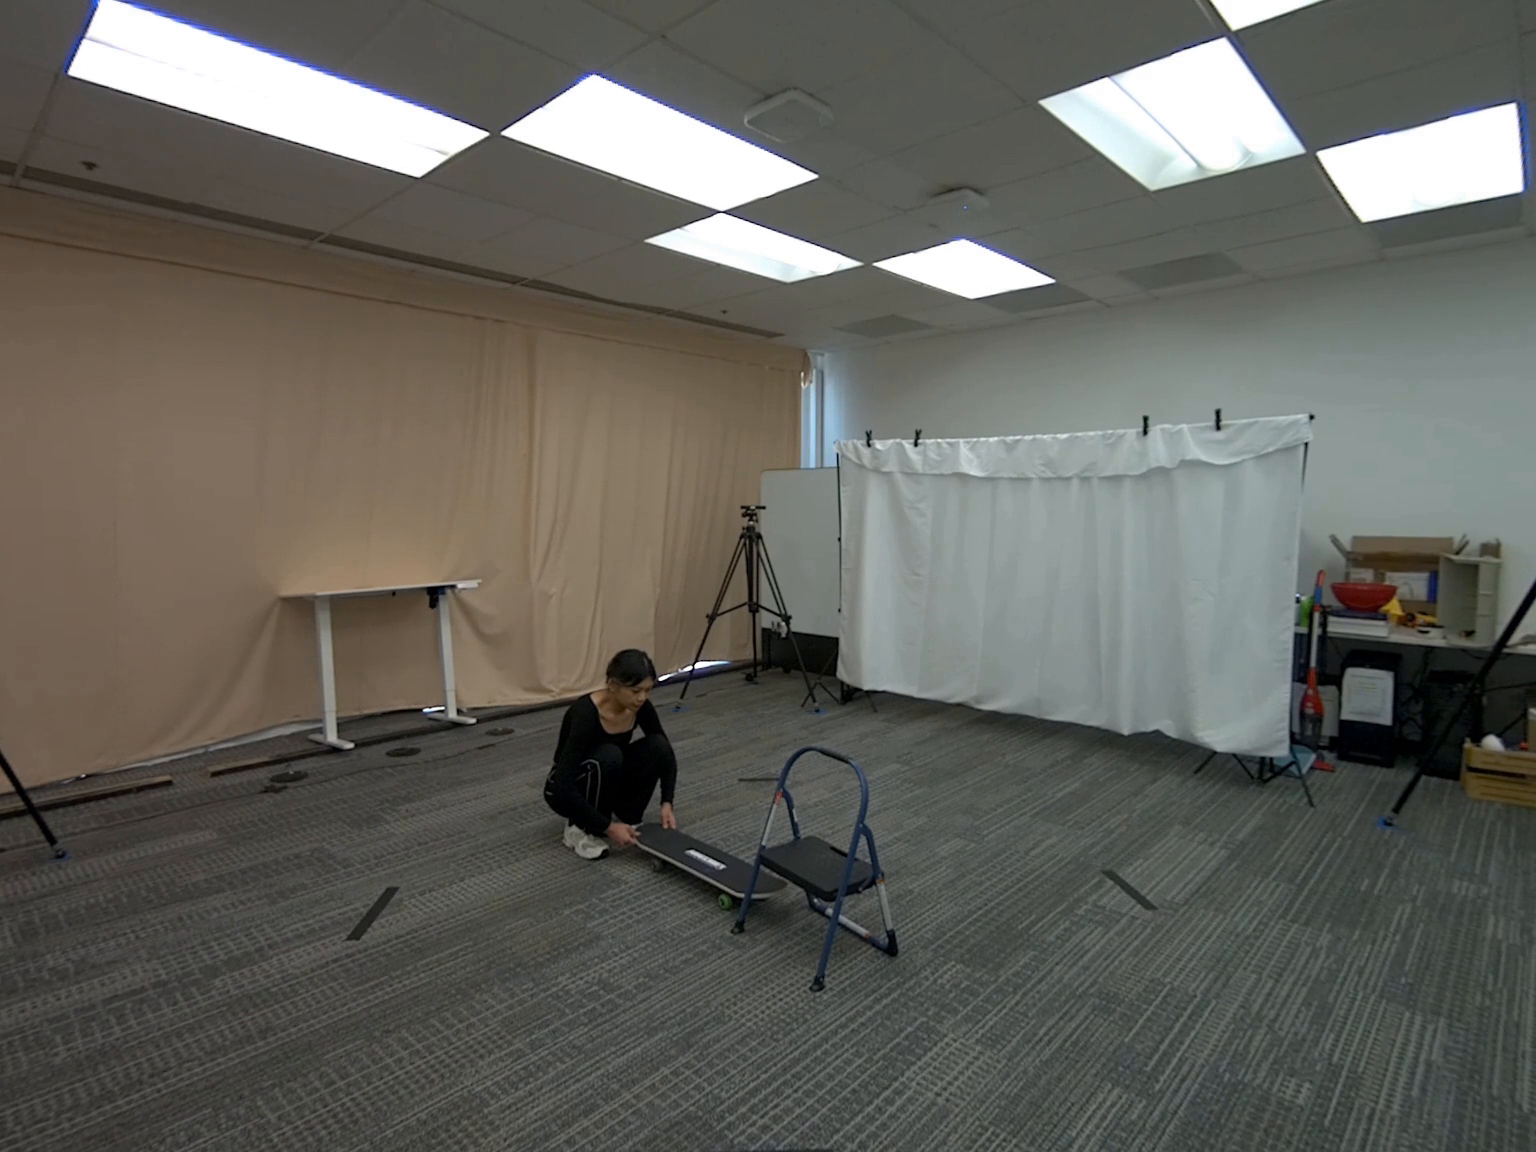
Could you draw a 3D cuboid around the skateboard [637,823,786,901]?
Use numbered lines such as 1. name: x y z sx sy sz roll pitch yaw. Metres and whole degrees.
1. skateboard: -0.230 1.080 3.110 0.187 0.110 0.812 -4 6 -42
